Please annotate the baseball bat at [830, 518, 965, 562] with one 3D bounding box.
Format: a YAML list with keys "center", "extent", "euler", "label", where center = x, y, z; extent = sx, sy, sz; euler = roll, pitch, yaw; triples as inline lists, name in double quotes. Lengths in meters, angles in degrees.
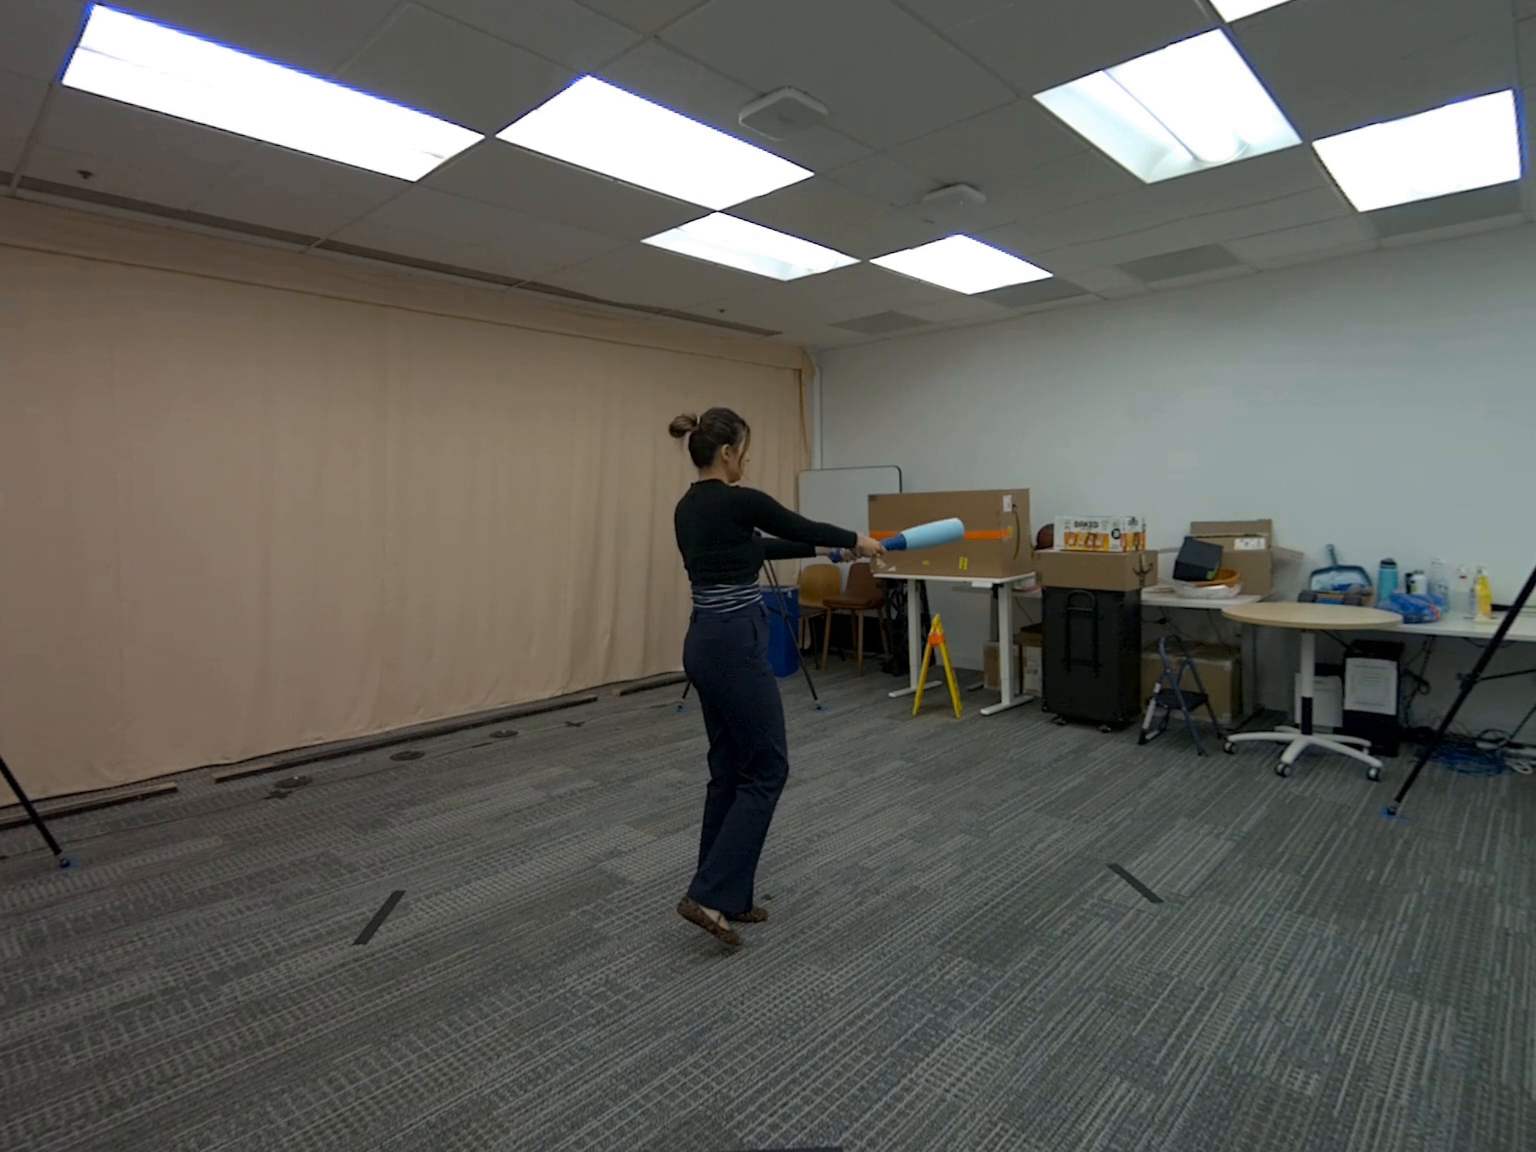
- center: [0.488, -0.116, 3.123]
  extent: [0.536, 0.088, 0.091]
  euler: [-13, 7, -15]
  label: "baseball bat"
